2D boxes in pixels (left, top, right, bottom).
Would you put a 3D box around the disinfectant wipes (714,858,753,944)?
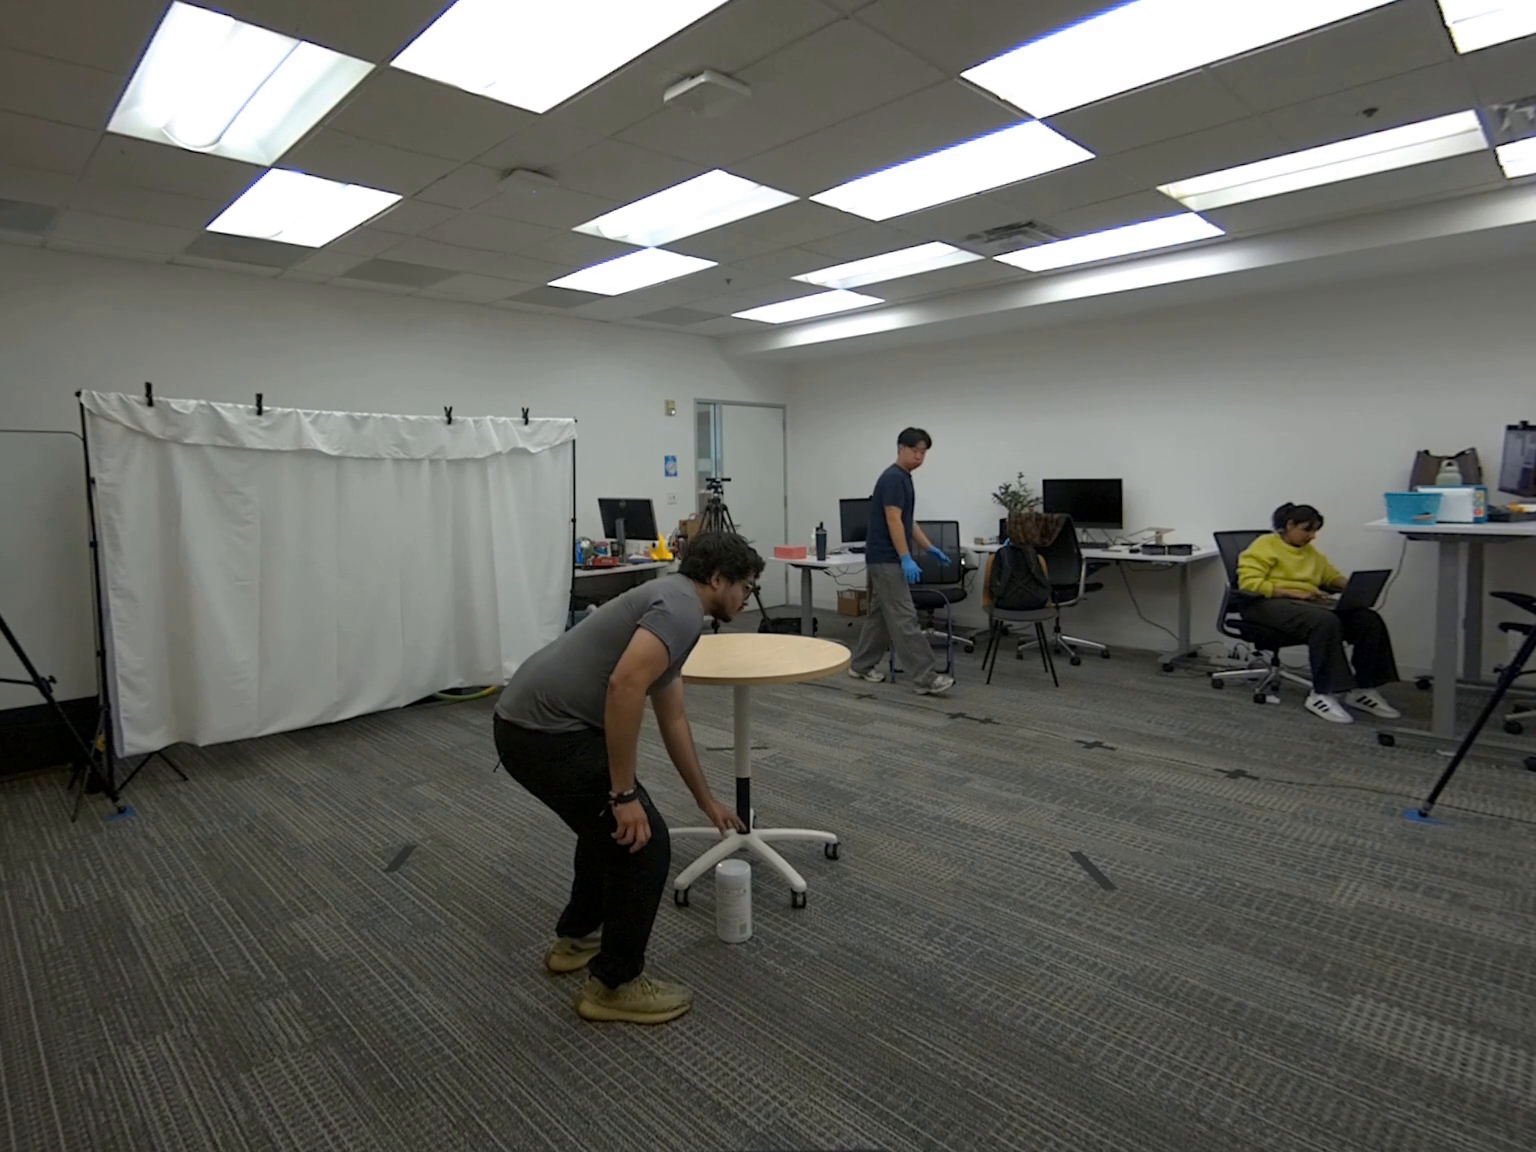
[{"bbox_3d":[-0.107,0.990,2.618,0.118,0.216,0.118,-1,5,-2],"label":"disinfectant wipes"}]
